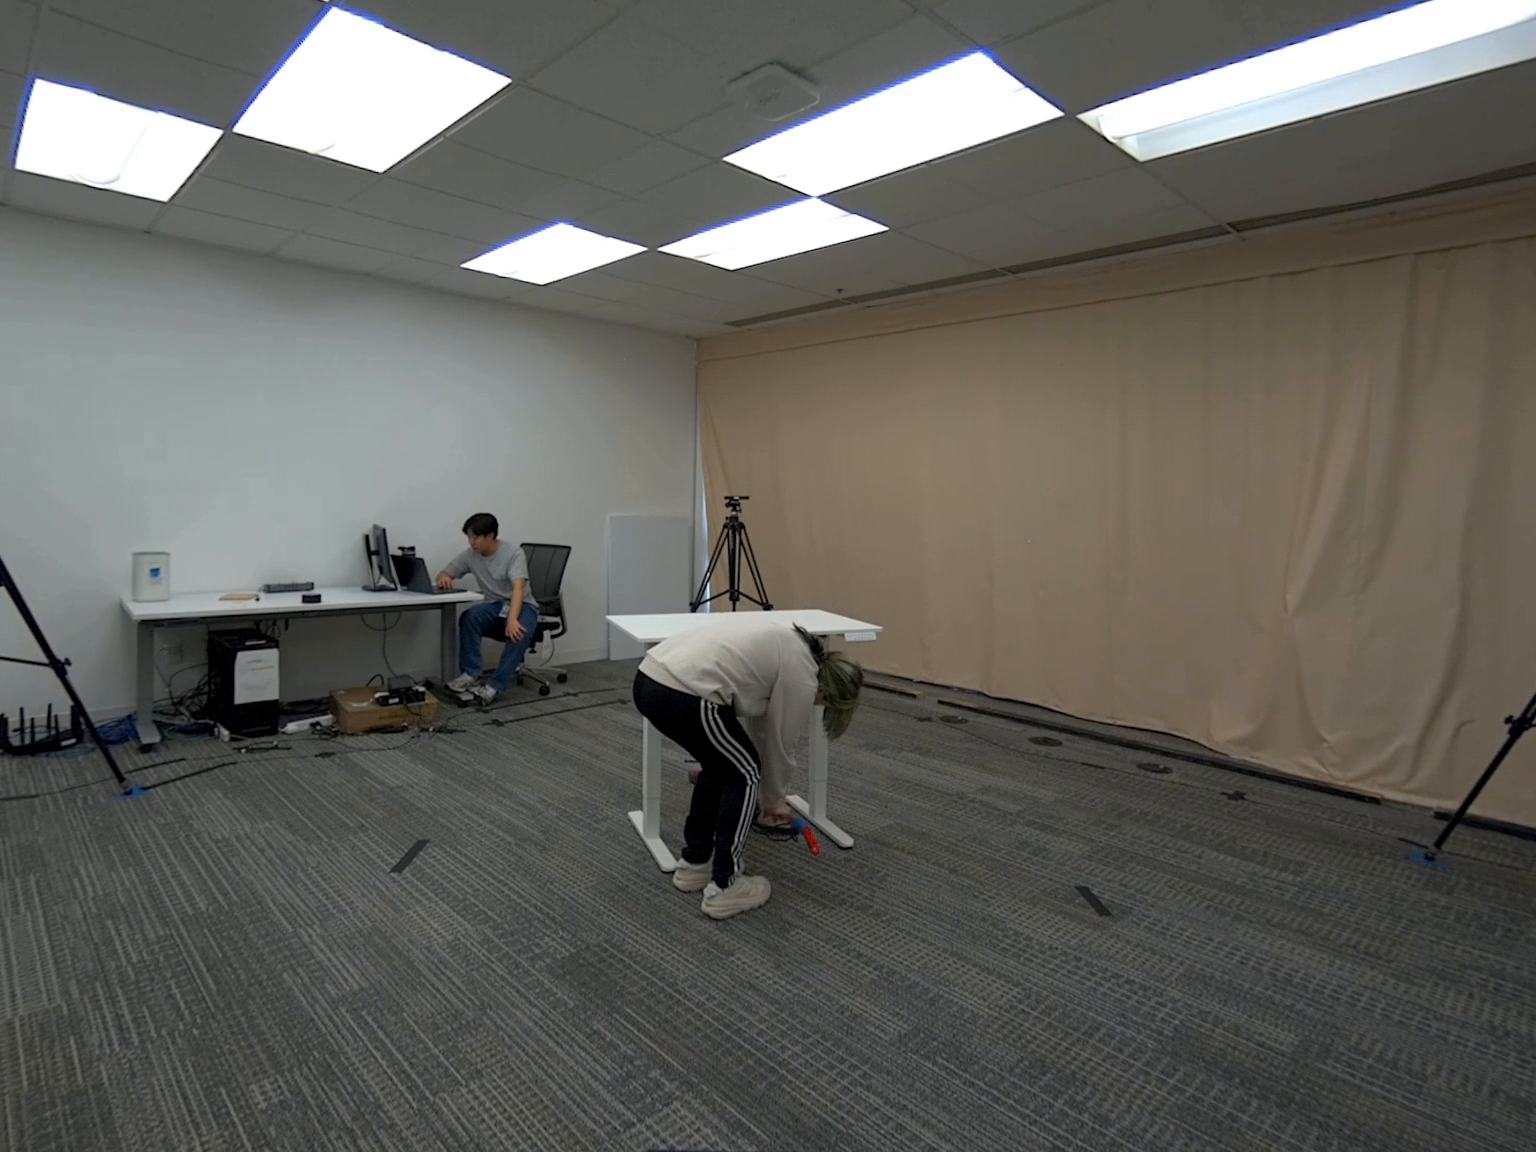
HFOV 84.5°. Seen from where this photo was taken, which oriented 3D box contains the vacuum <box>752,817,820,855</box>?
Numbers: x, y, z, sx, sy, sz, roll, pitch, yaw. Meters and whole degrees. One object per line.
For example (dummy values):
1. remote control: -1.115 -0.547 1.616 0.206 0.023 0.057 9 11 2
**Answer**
1. vacuum: -0.039 0.940 3.296 0.248 0.144 1.064 14 -6 -20
